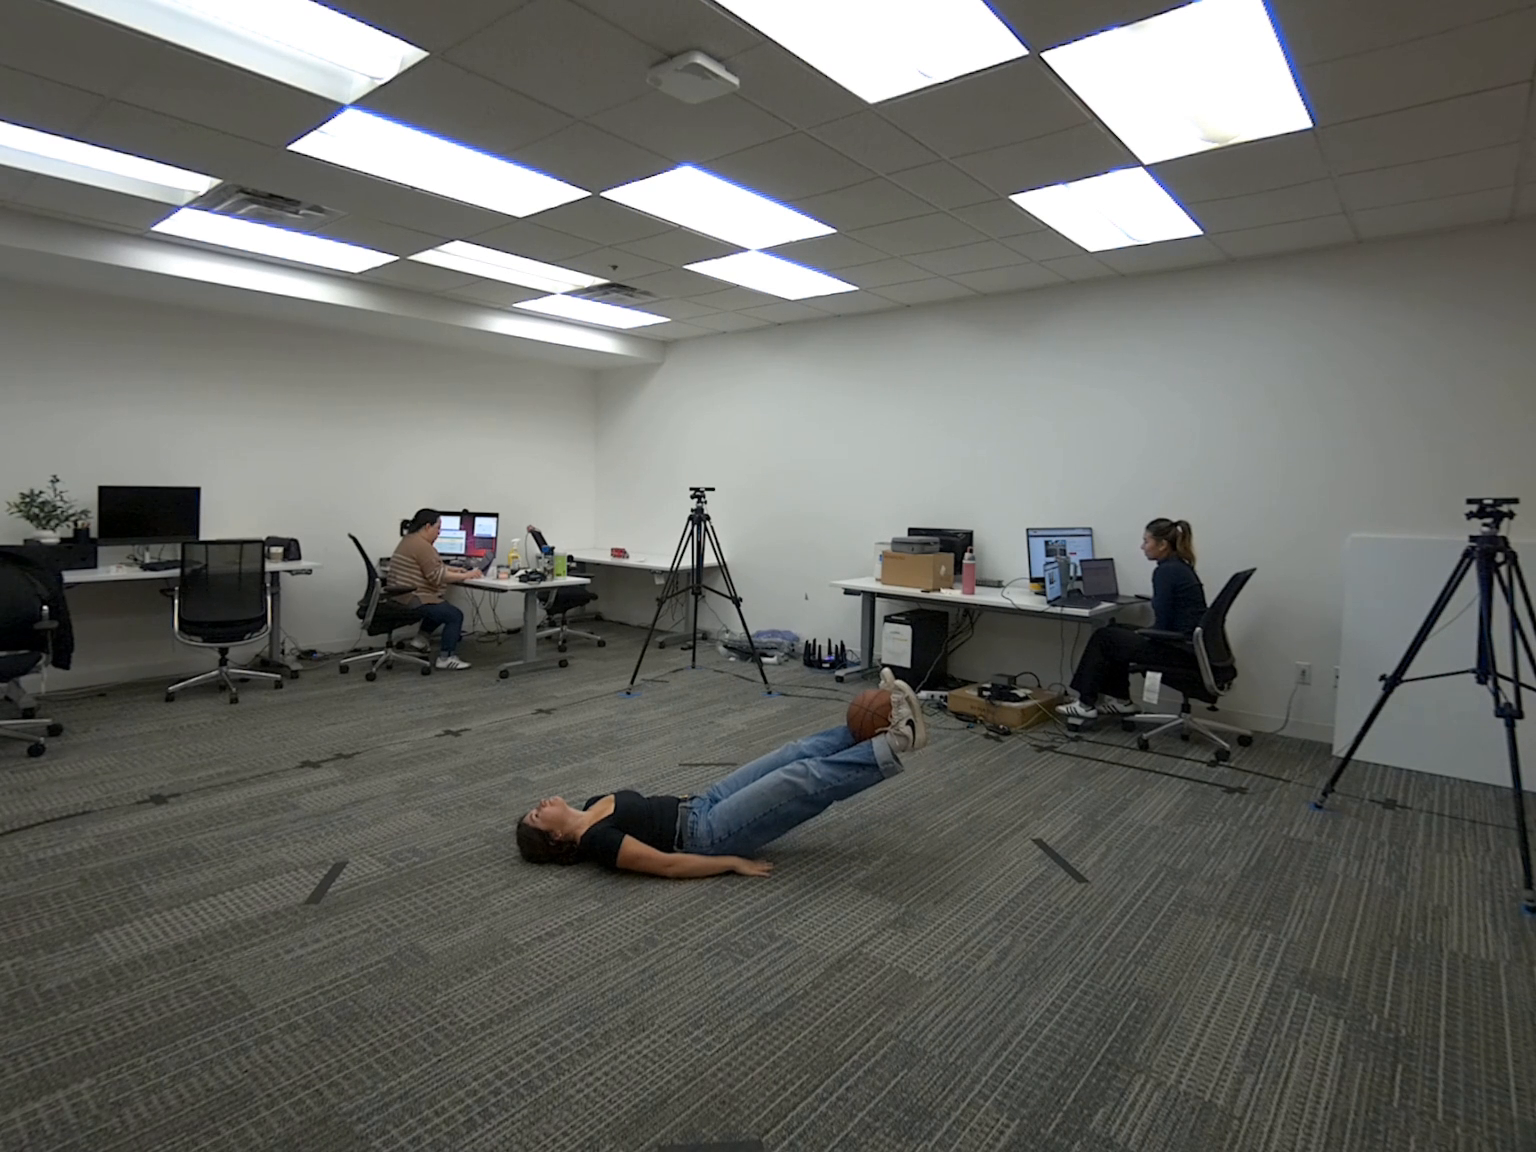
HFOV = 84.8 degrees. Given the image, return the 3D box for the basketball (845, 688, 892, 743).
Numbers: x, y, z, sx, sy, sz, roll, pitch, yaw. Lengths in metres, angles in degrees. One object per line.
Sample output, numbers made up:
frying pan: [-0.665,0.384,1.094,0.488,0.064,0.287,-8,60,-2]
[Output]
basketball: [0.420,0.554,3.292,0.235,0.235,0.237,1,4,-2]
